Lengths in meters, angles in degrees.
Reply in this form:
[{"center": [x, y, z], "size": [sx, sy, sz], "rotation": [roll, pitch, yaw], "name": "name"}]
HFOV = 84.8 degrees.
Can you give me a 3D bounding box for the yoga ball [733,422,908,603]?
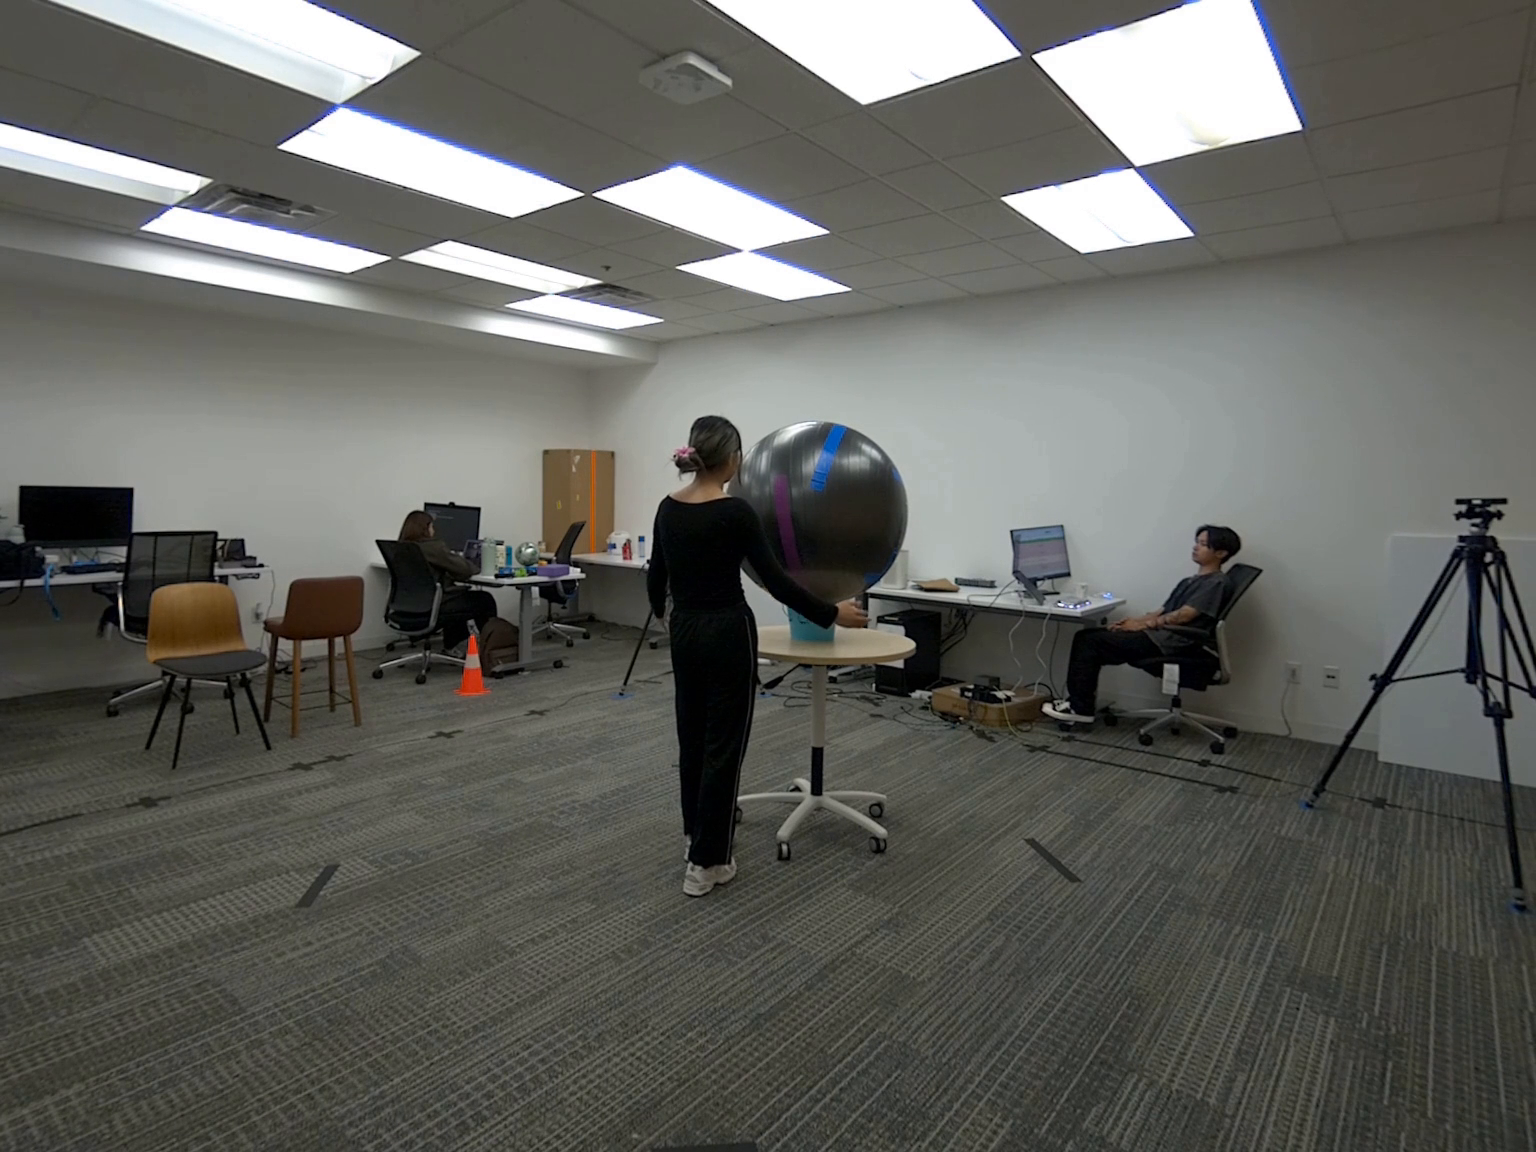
[{"center": [0.191, -0.257, 3.519], "size": [0.757, 0.756, 0.762], "rotation": [1, 4, -2], "name": "yoga ball"}]
